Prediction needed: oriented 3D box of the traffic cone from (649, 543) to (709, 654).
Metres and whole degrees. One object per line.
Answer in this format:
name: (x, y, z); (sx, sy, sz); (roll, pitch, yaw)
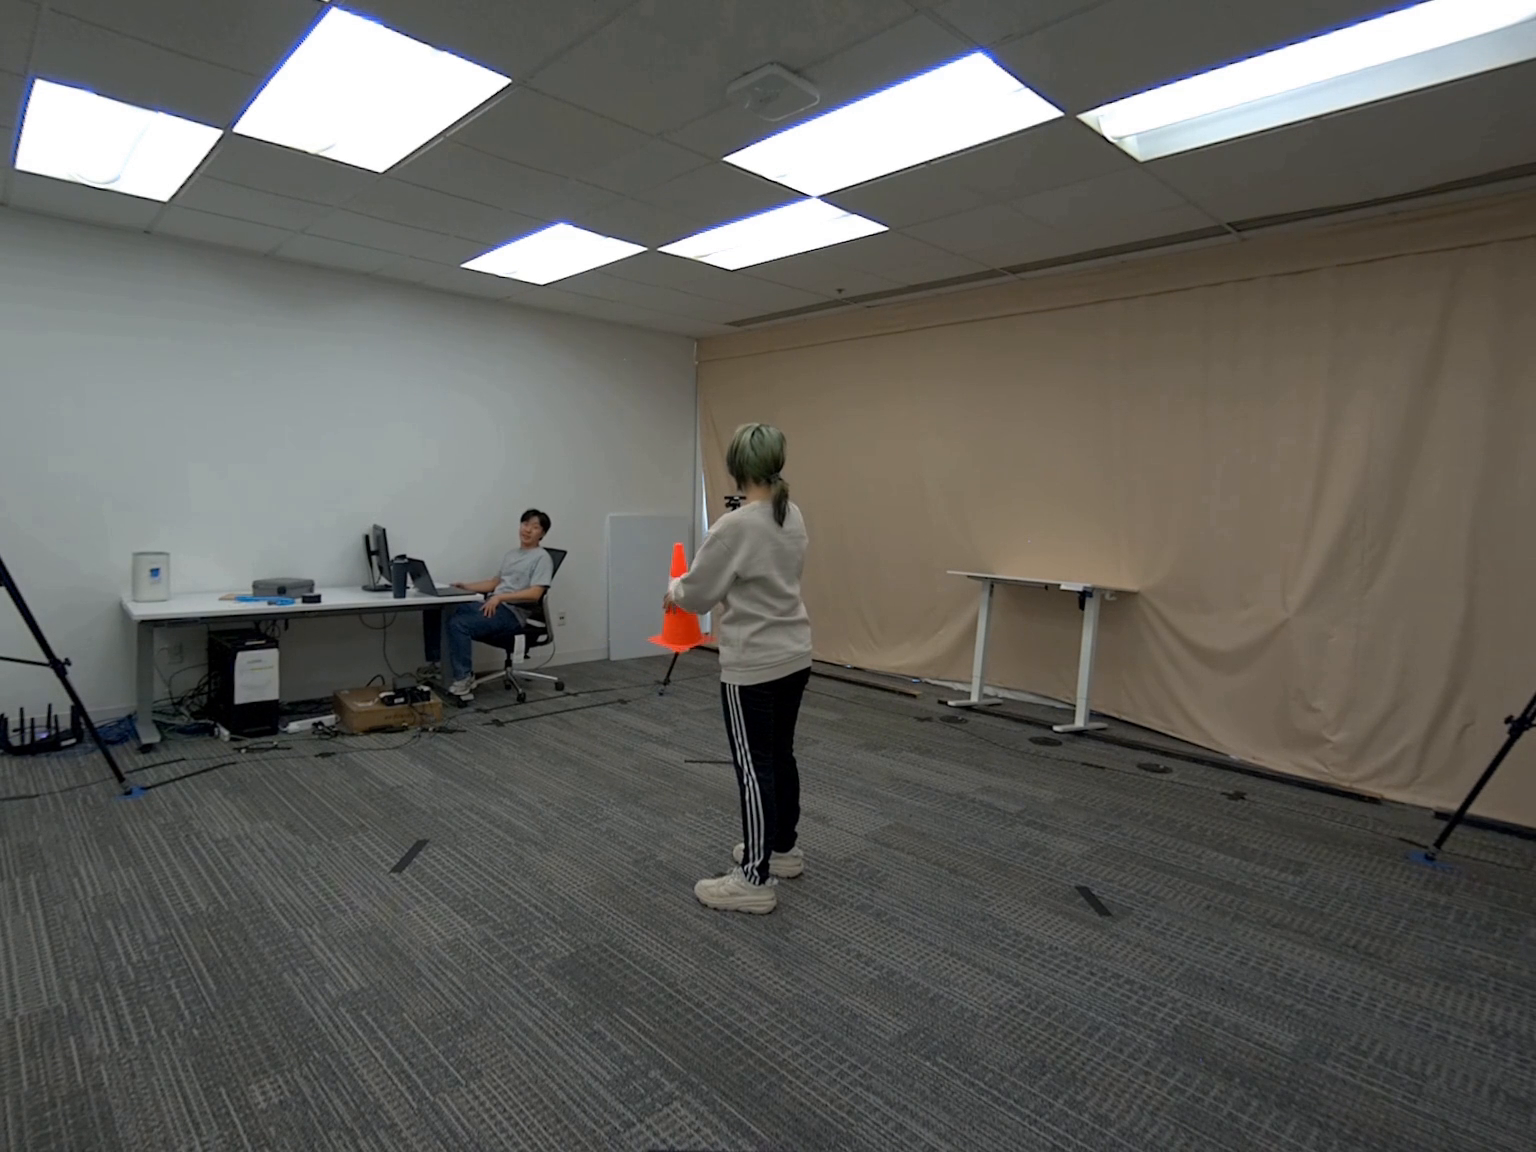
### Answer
traffic cone: (-0.338, 0.059, 3.226); (0.201, 0.380, 0.209); (-9, 16, -39)
